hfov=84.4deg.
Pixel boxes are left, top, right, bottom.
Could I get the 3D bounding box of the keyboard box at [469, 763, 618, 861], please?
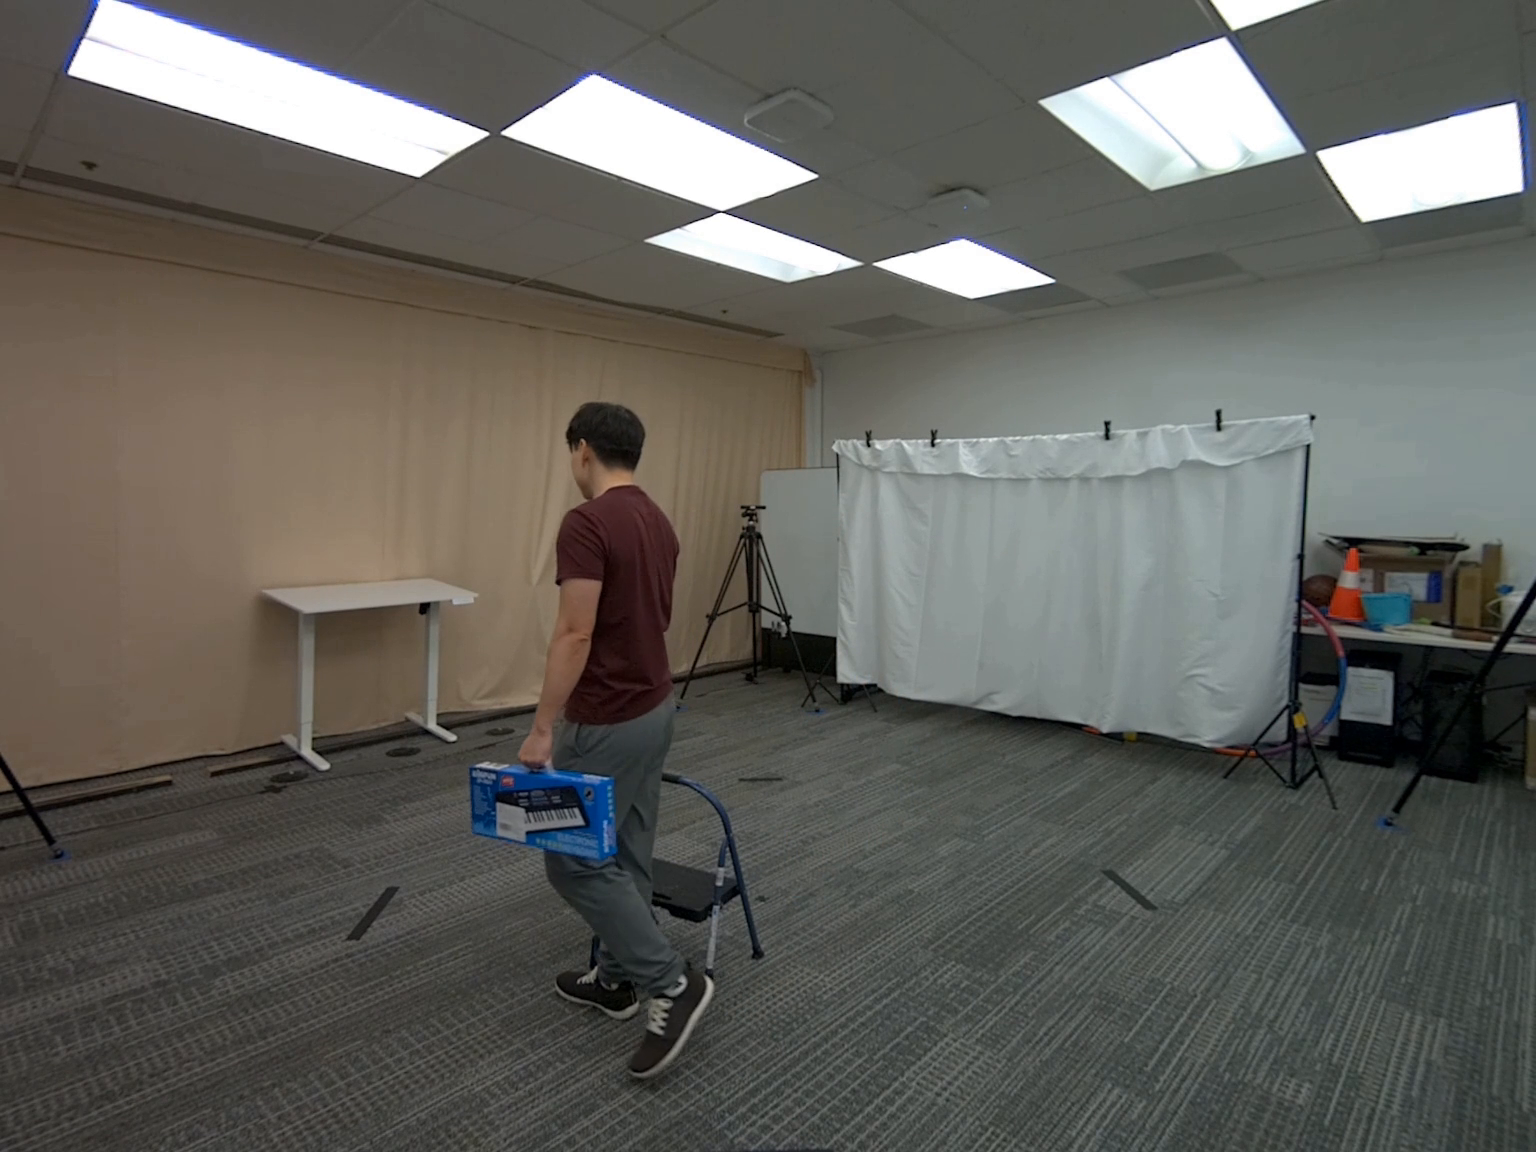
[{"bbox_3d":[-0.549,0.560,2.039,0.450,0.176,0.057,-1,-1,33],"label":"keyboard box"}]
